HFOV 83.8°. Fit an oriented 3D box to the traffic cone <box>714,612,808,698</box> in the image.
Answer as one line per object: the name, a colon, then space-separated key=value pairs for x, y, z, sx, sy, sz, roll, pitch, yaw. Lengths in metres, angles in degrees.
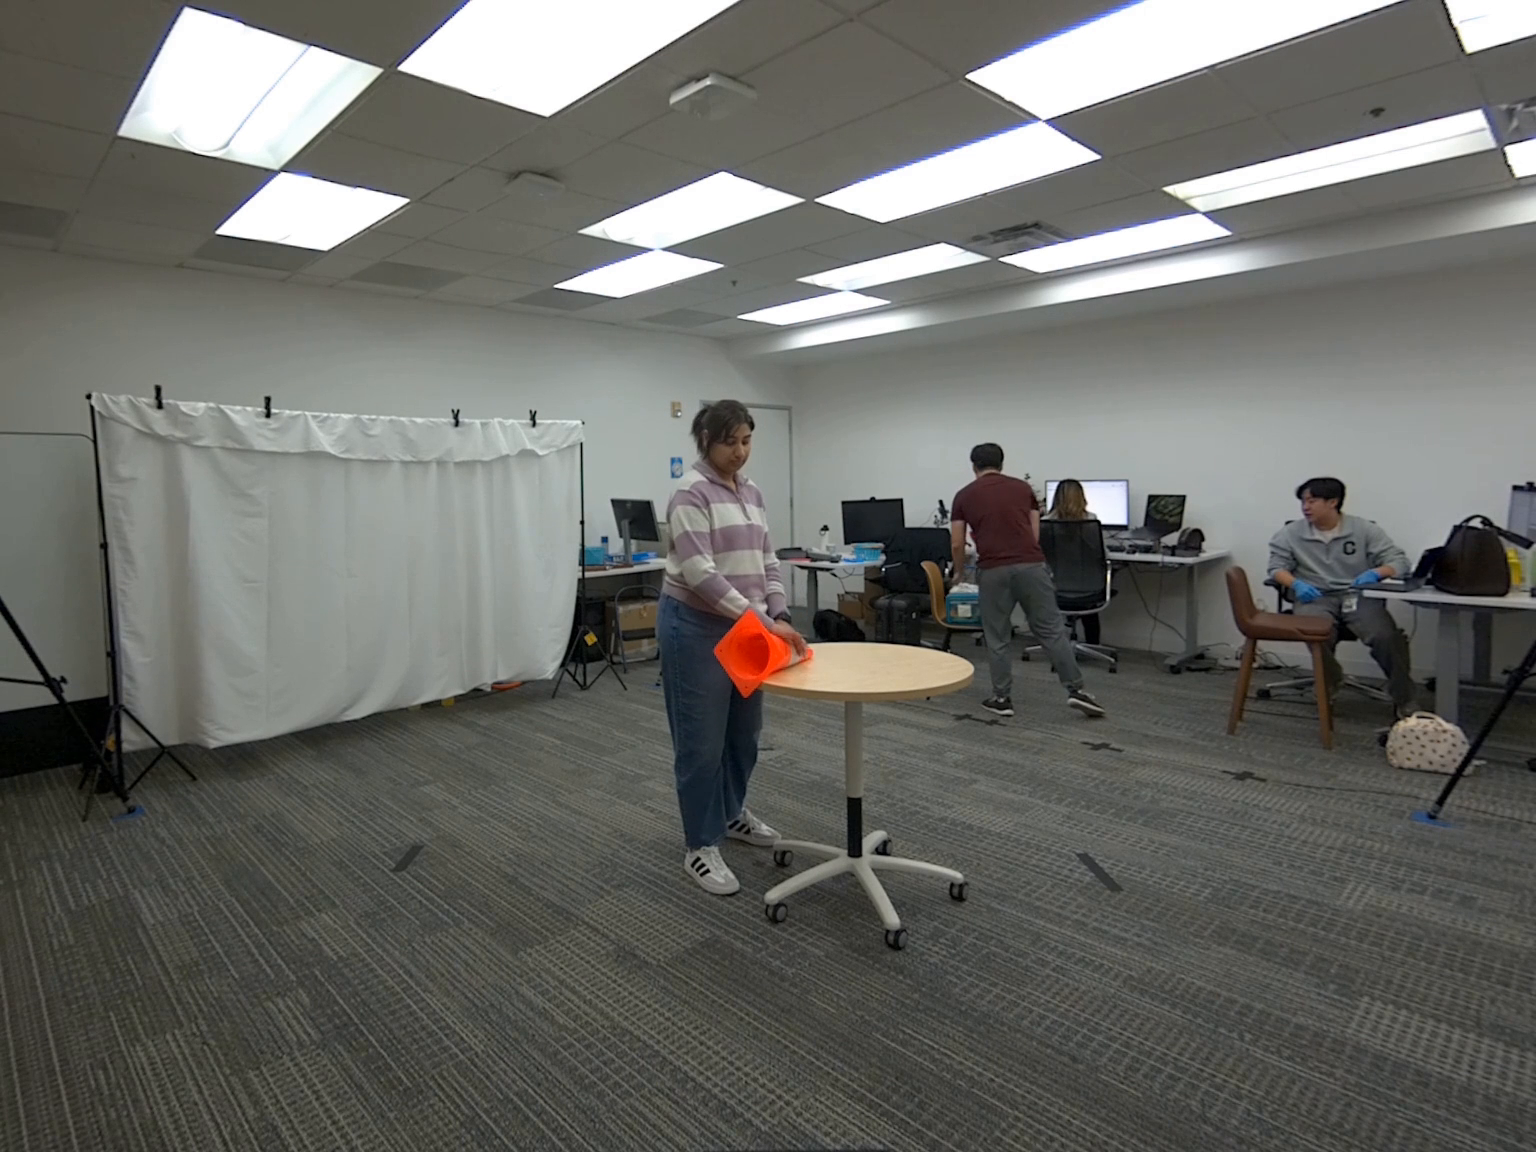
traffic cone: x=0.043 y=0.256 z=2.779 sx=0.371 sy=0.203 sz=0.212 roll=10 pitch=36 yaw=-55
